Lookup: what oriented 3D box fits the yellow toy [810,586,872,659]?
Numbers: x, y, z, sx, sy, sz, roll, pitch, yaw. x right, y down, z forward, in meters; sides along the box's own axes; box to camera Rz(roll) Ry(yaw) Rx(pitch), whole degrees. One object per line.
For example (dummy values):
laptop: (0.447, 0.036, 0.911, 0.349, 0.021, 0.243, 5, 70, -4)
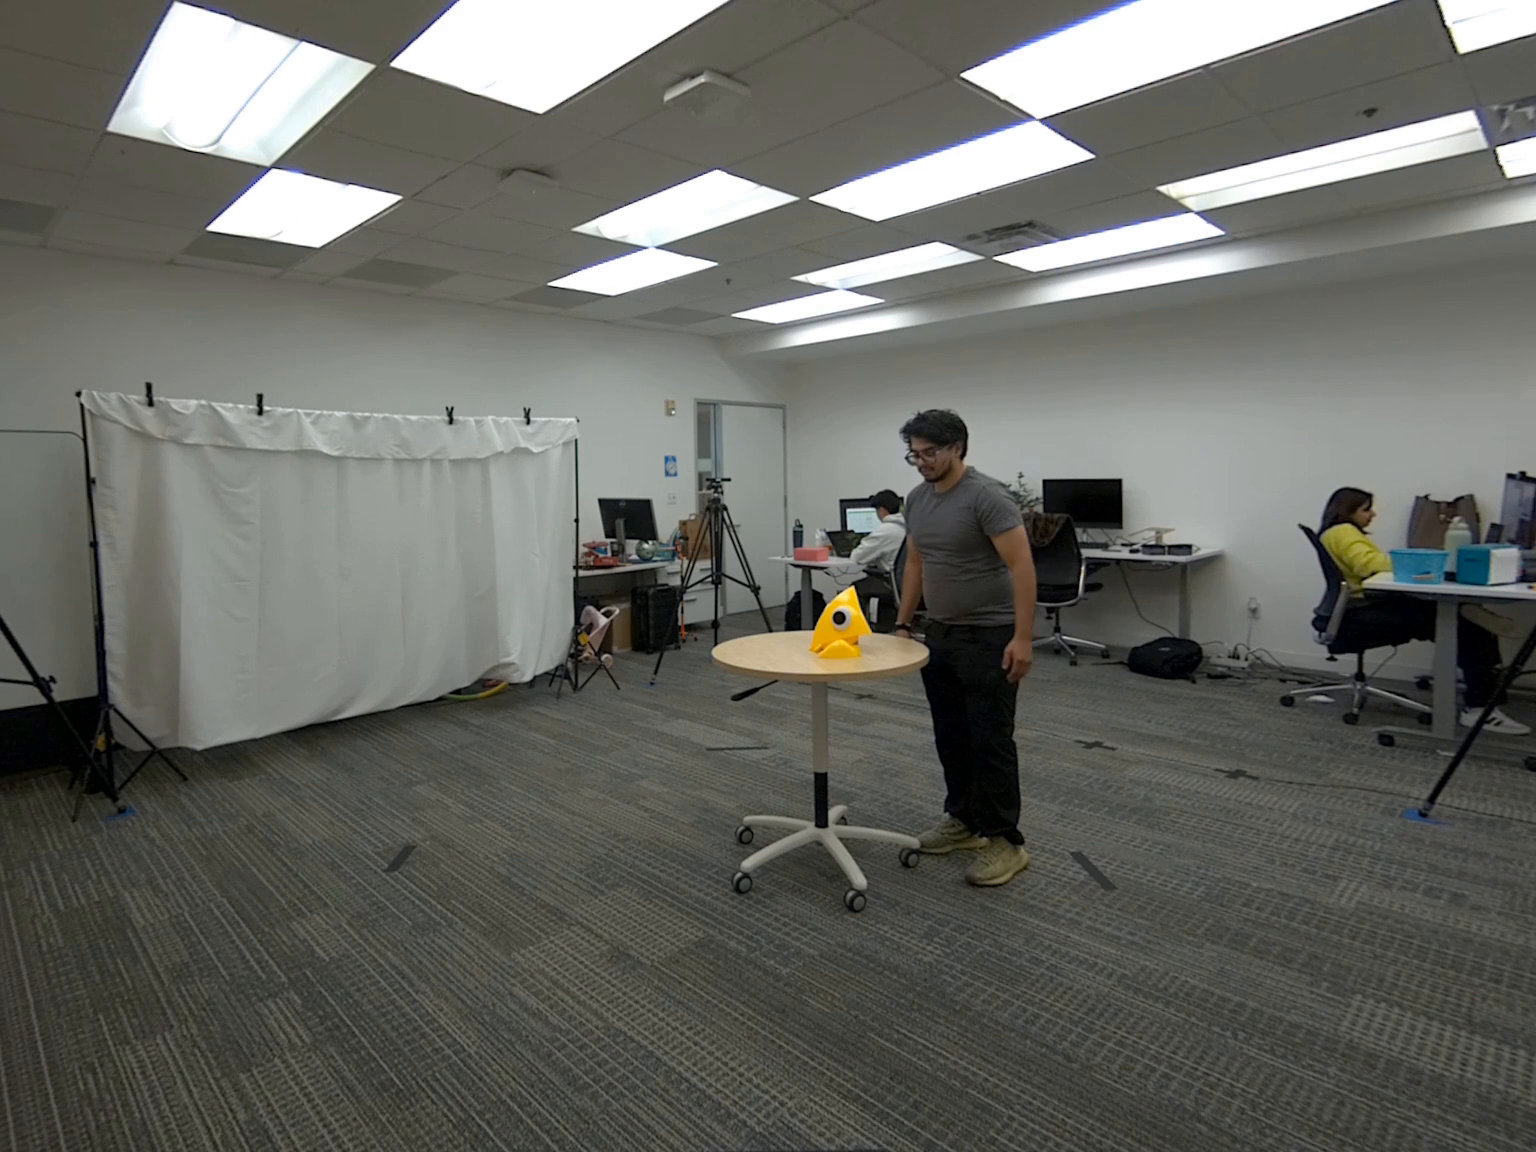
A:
yellow toy: (0.245, 0.150, 2.985, 0.191, 0.230, 0.208, -2, 4, -12)
